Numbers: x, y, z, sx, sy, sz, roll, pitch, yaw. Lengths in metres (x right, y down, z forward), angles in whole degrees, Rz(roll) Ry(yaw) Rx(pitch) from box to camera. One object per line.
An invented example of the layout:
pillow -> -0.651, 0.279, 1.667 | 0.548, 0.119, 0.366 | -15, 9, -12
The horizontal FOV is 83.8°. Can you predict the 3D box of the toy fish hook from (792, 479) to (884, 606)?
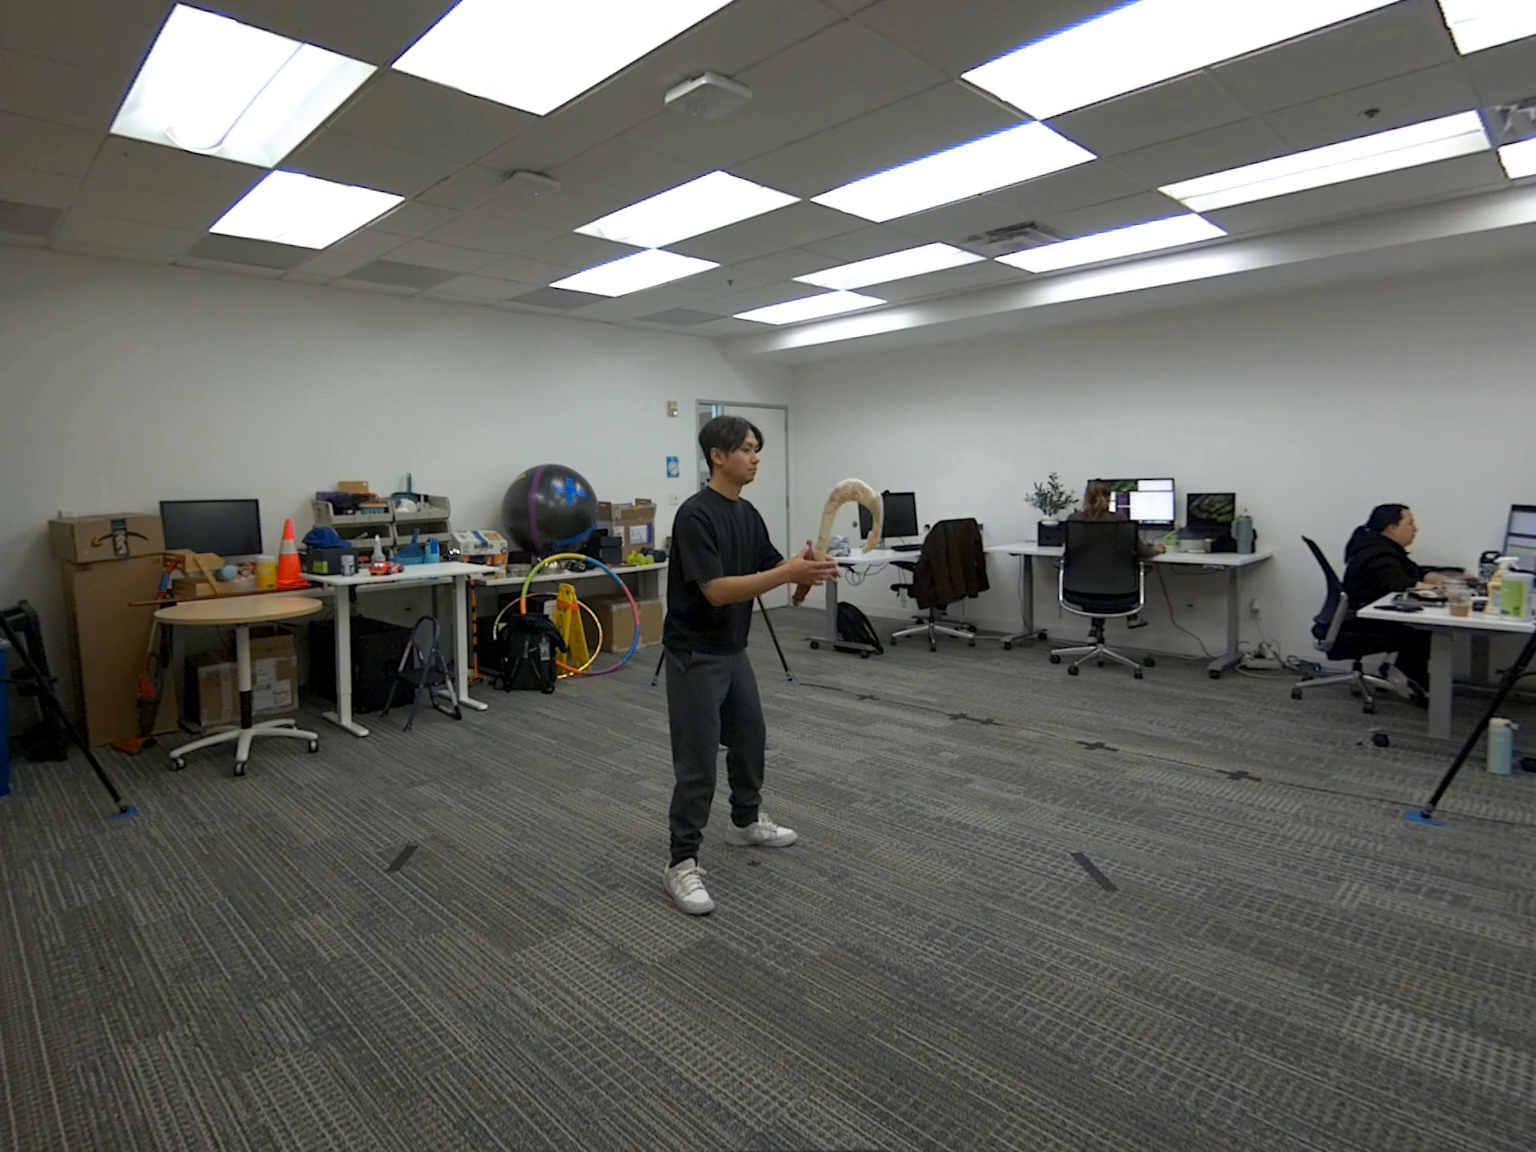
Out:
toy fish hook -> 0.220, -0.036, 2.802 | 0.047, 0.501, 0.233 | -8, 41, -47
